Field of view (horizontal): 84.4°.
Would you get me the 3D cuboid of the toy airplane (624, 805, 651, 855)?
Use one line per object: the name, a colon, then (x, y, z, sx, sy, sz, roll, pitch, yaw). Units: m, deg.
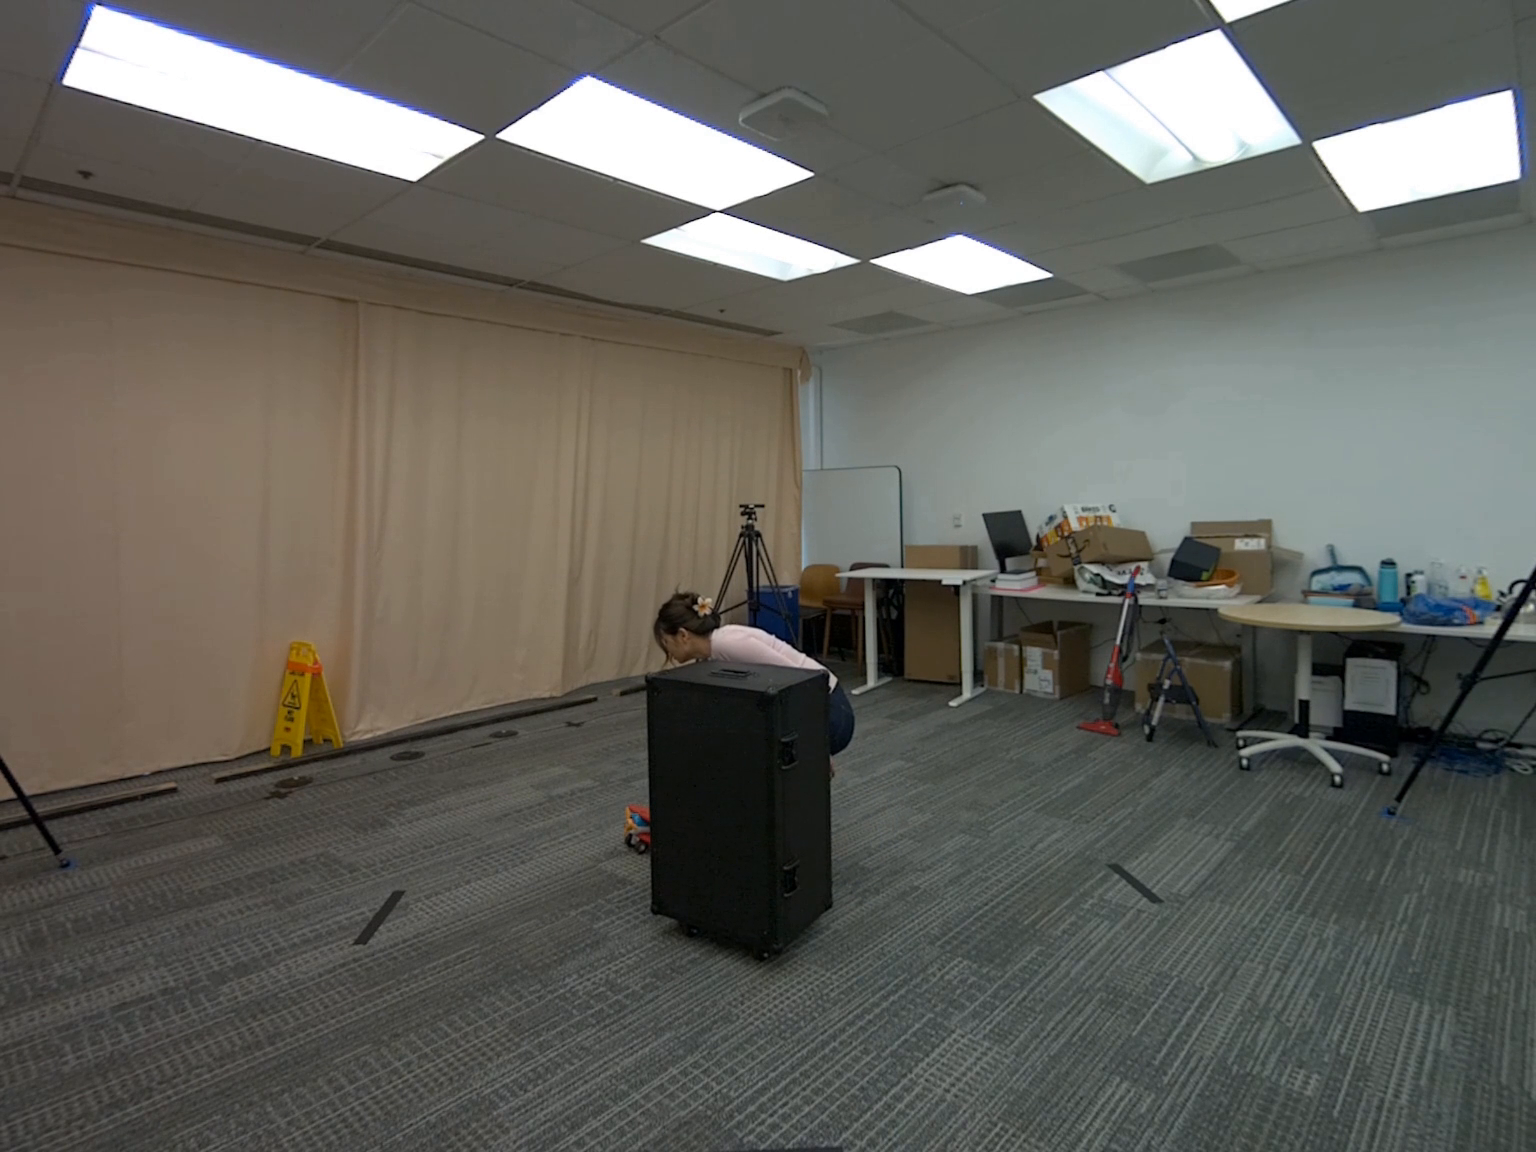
toy airplane: (-0.484, 1.038, 3.482, 0.257, 0.156, 0.254, 2, 8, 25)
